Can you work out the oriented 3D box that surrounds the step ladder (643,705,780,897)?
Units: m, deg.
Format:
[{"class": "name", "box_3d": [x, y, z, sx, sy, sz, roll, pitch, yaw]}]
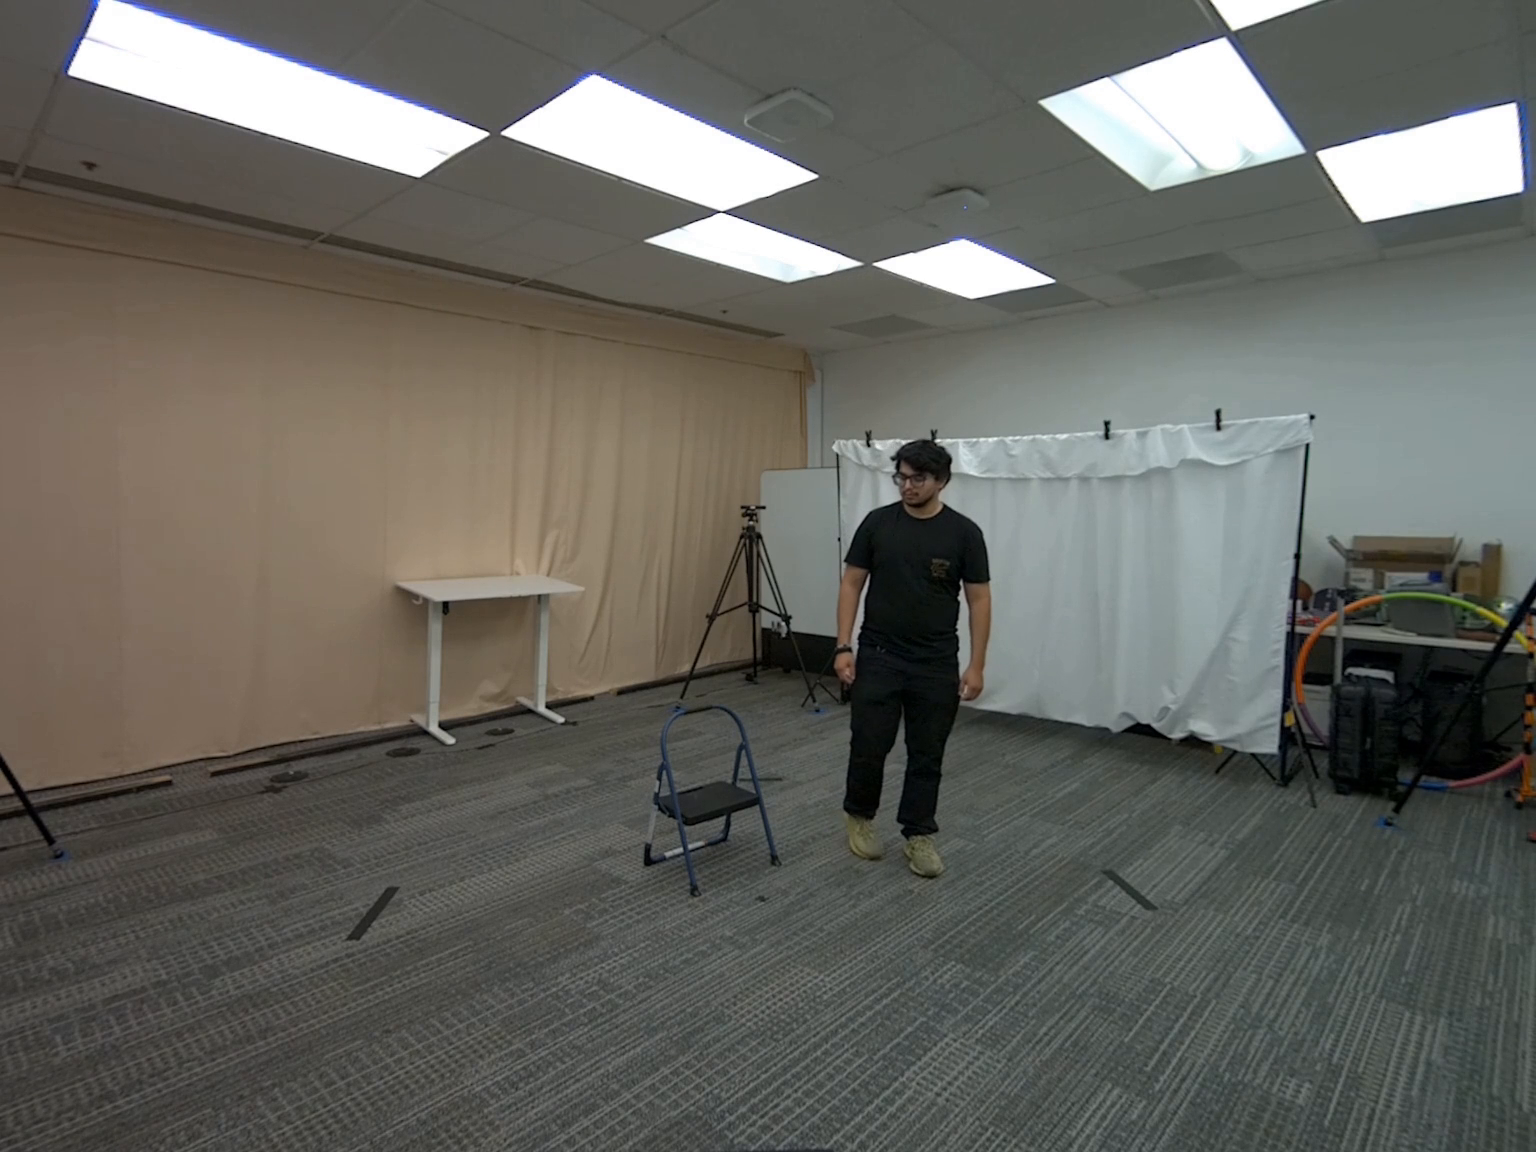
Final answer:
[{"class": "step ladder", "box_3d": [-0.219, 0.821, 3.254, 0.417, 0.605, 0.361, -3, 4, -41]}]
